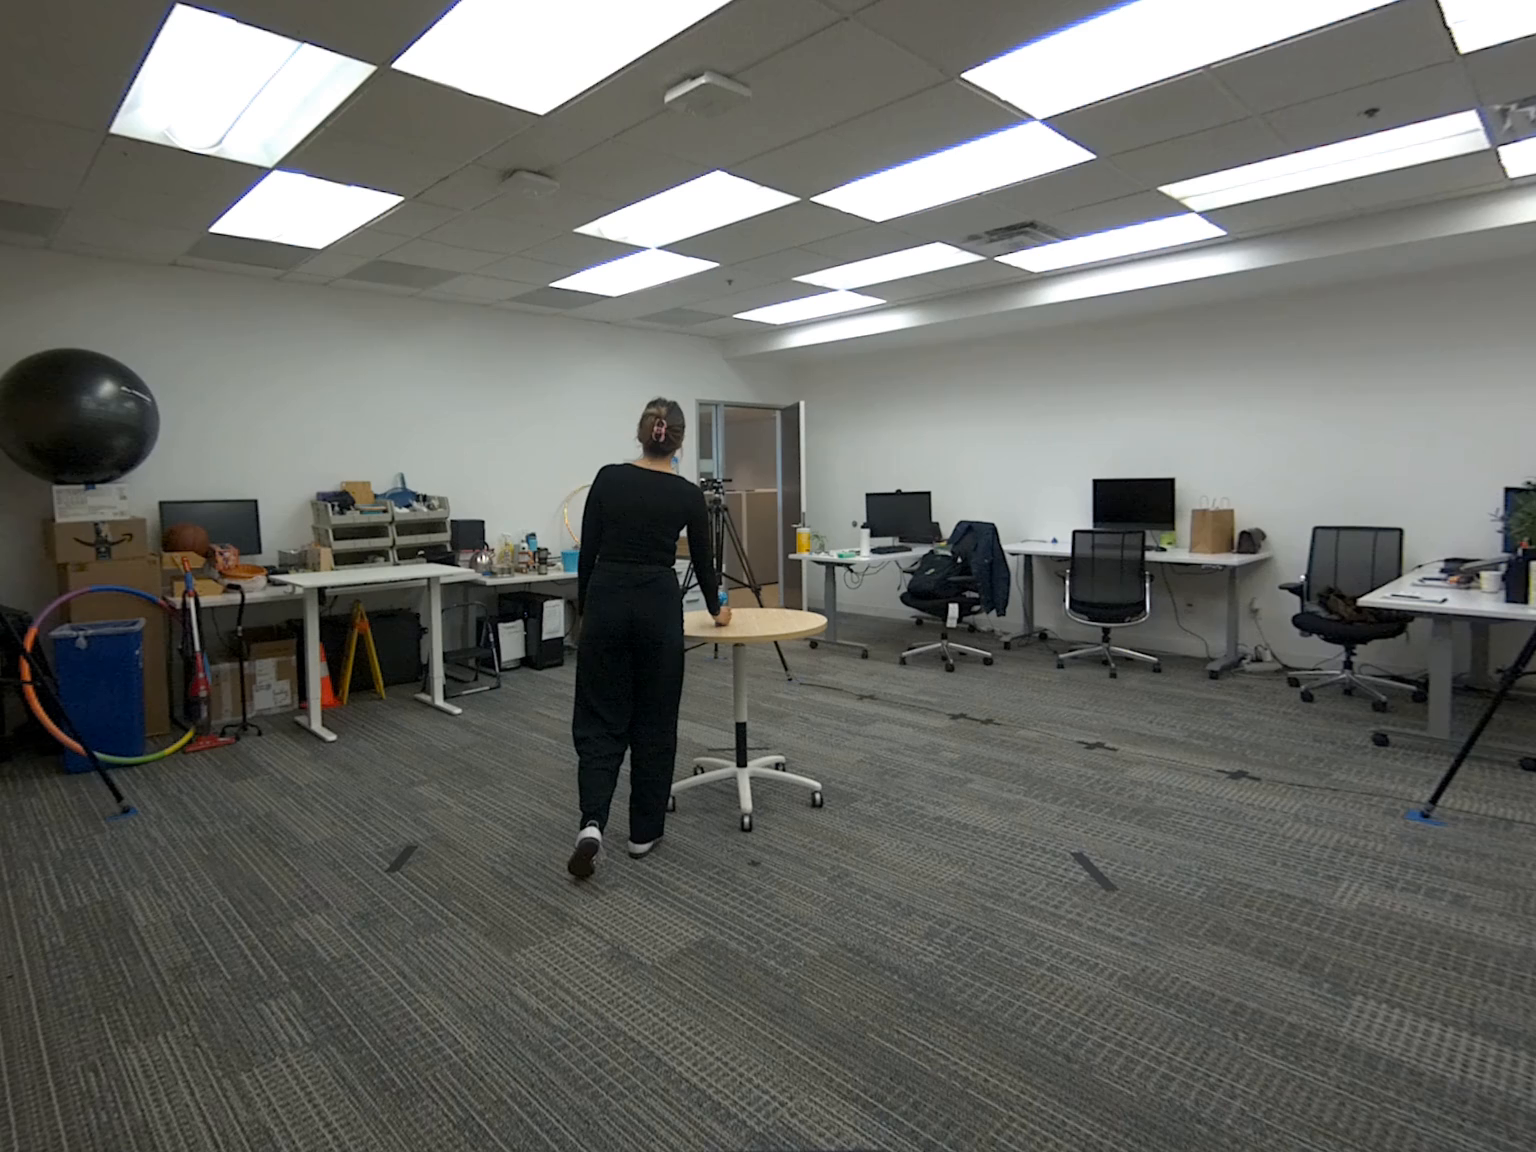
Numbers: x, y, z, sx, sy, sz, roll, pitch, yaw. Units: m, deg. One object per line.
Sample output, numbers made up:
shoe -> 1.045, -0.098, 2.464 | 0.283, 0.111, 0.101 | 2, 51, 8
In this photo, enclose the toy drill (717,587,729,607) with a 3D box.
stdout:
toy drill -> -0.200, 0.122, 3.655 | 0.061, 0.145, 0.171 | 11, 7, -5
